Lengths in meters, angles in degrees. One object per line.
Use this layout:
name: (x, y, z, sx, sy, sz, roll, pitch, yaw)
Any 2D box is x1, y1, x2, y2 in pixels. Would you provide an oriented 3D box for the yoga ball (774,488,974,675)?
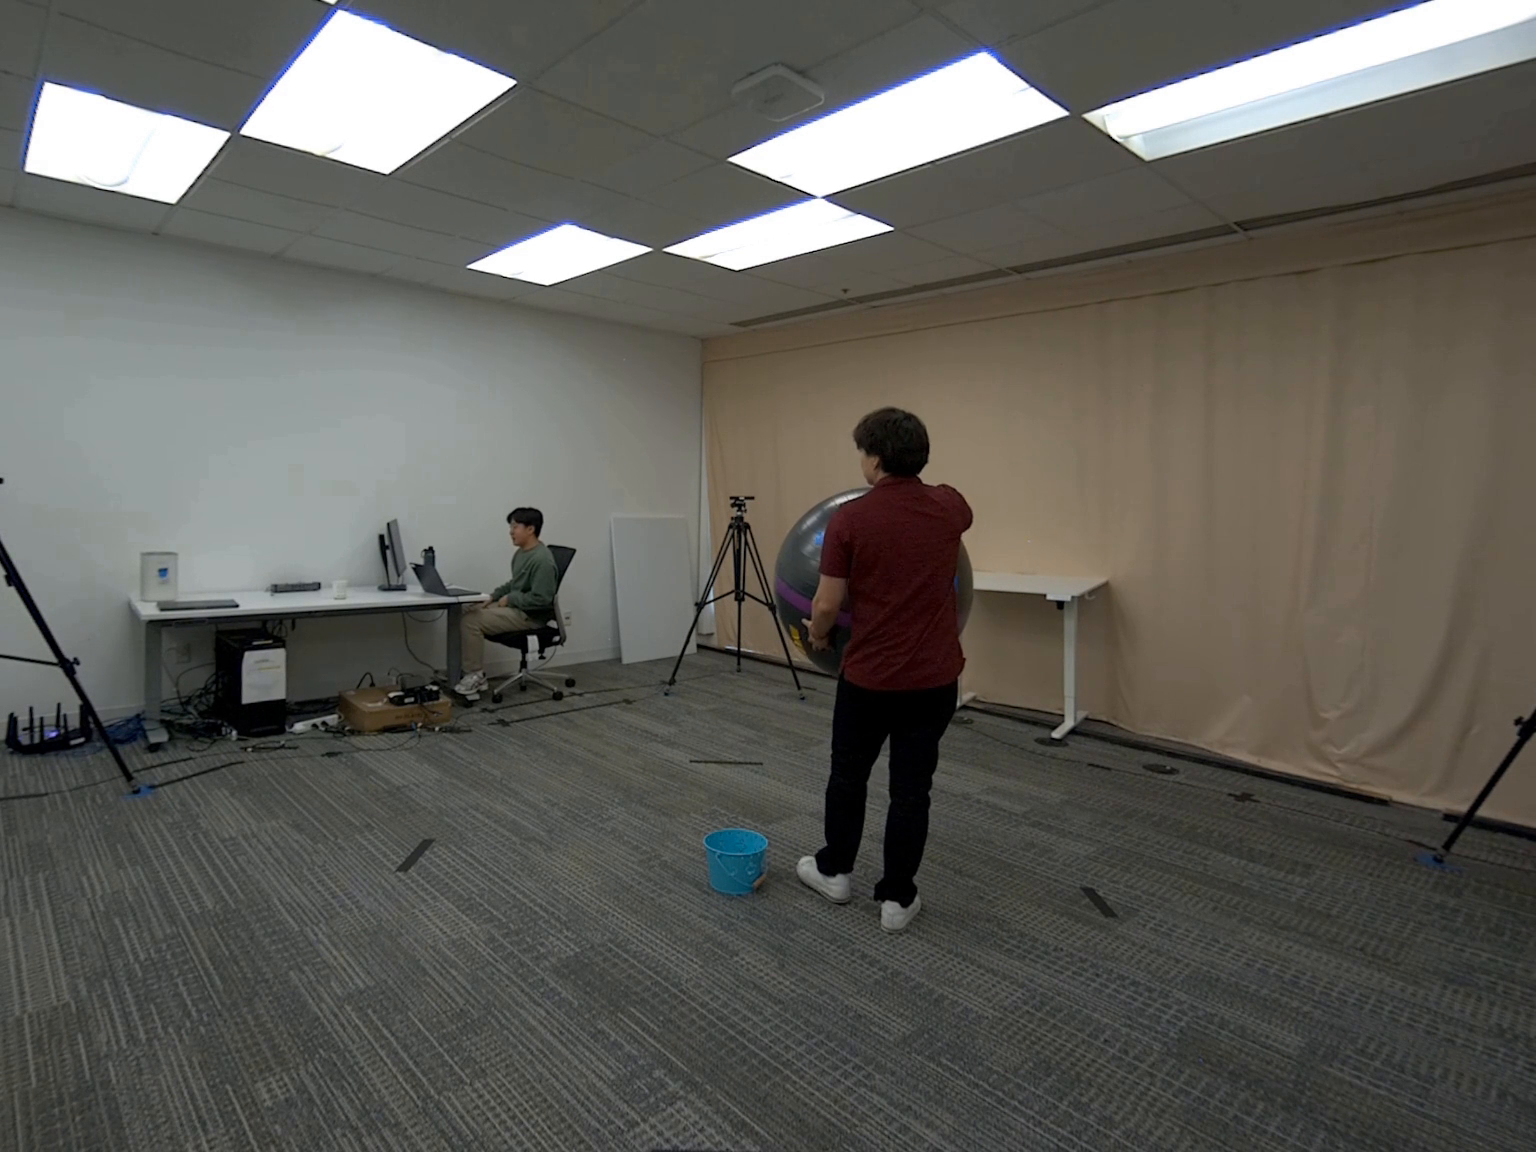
yoga ball: (0.418, 0.044, 3.266, 0.757, 0.756, 0.761, 1, 4, -1)
